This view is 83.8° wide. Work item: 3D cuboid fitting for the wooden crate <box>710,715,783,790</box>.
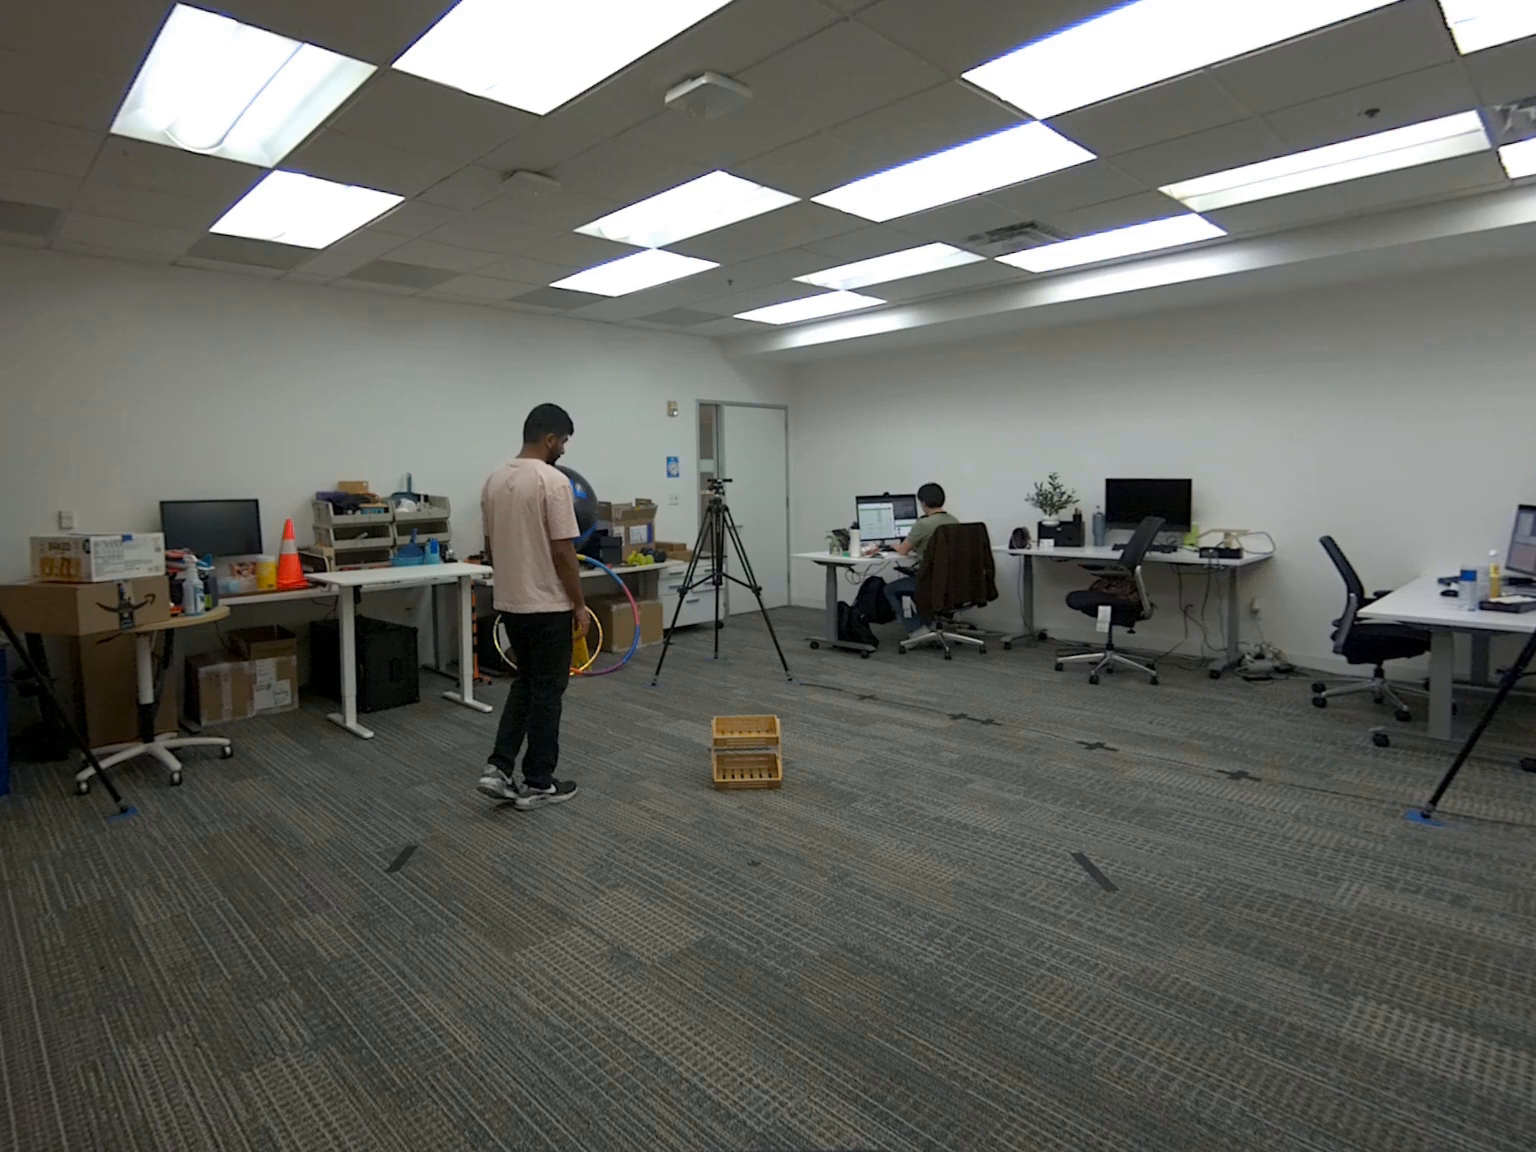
[{"bbox_3d":[-0.105,0.807,3.968,0.324,0.272,0.303,-1,4,-2],"label":"wooden crate"}]
